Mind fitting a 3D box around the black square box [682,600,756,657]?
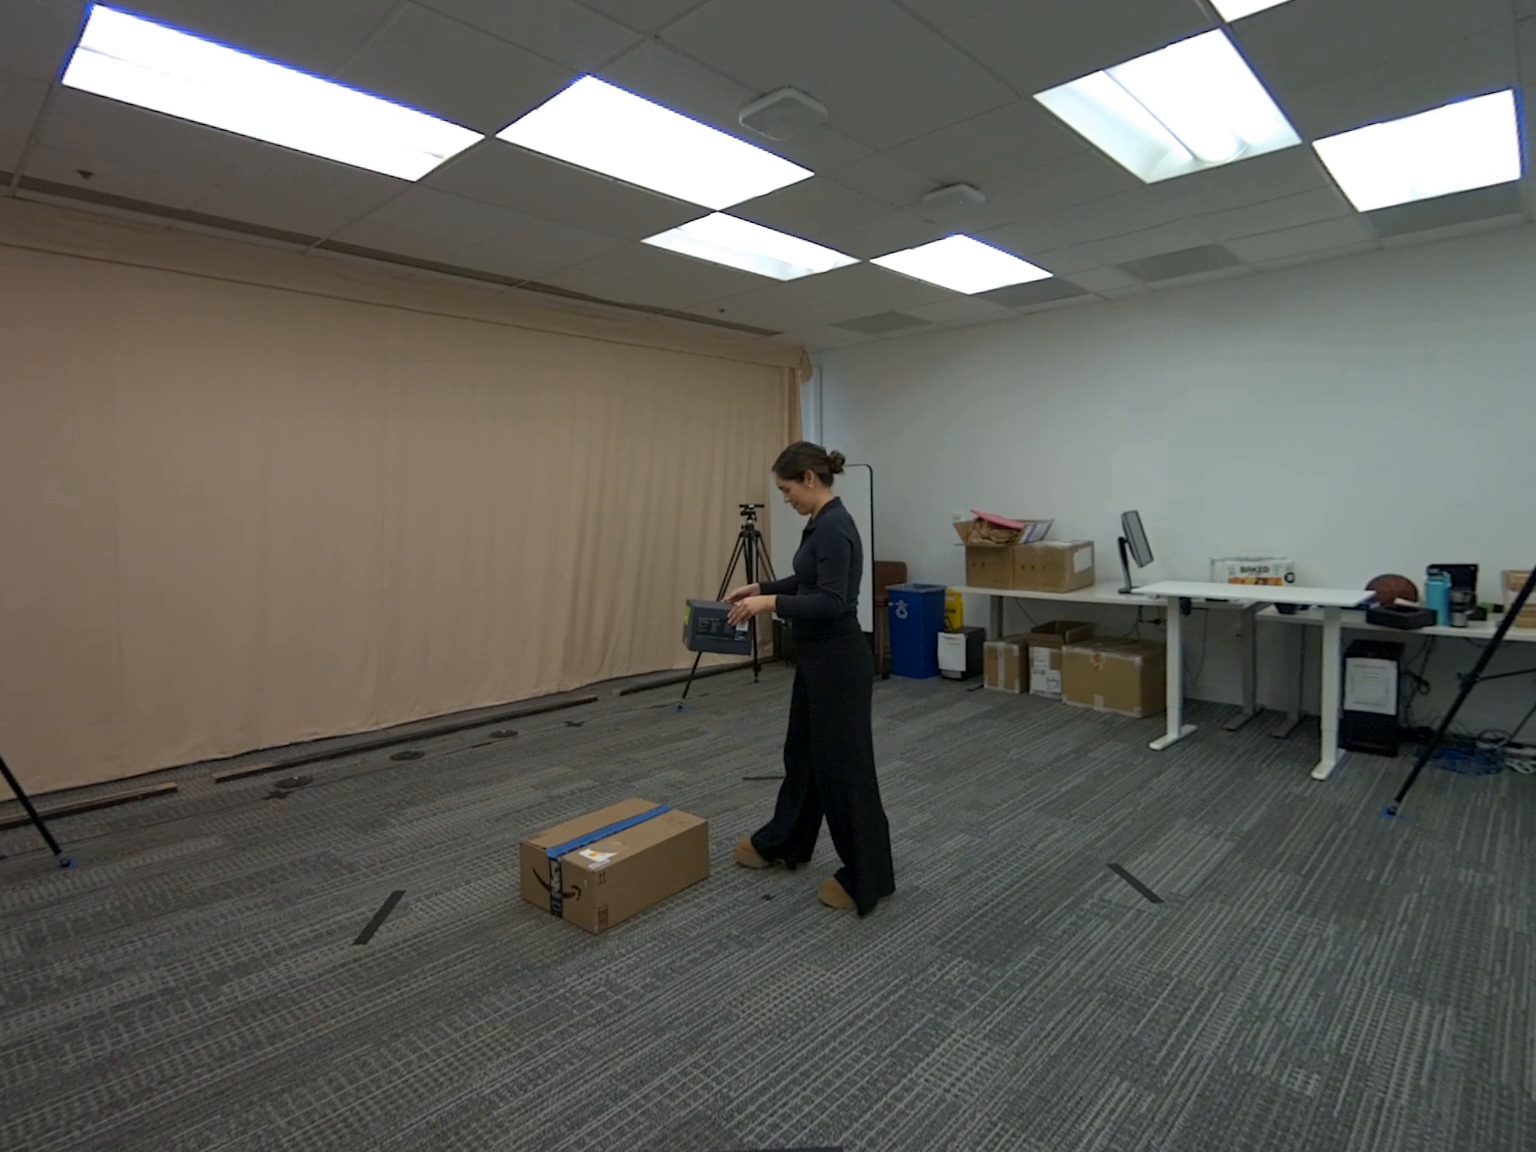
[{"bbox_3d":[-0.178,0.179,2.978,0.215,0.156,0.230,4,3,-7],"label":"black square box"}]
